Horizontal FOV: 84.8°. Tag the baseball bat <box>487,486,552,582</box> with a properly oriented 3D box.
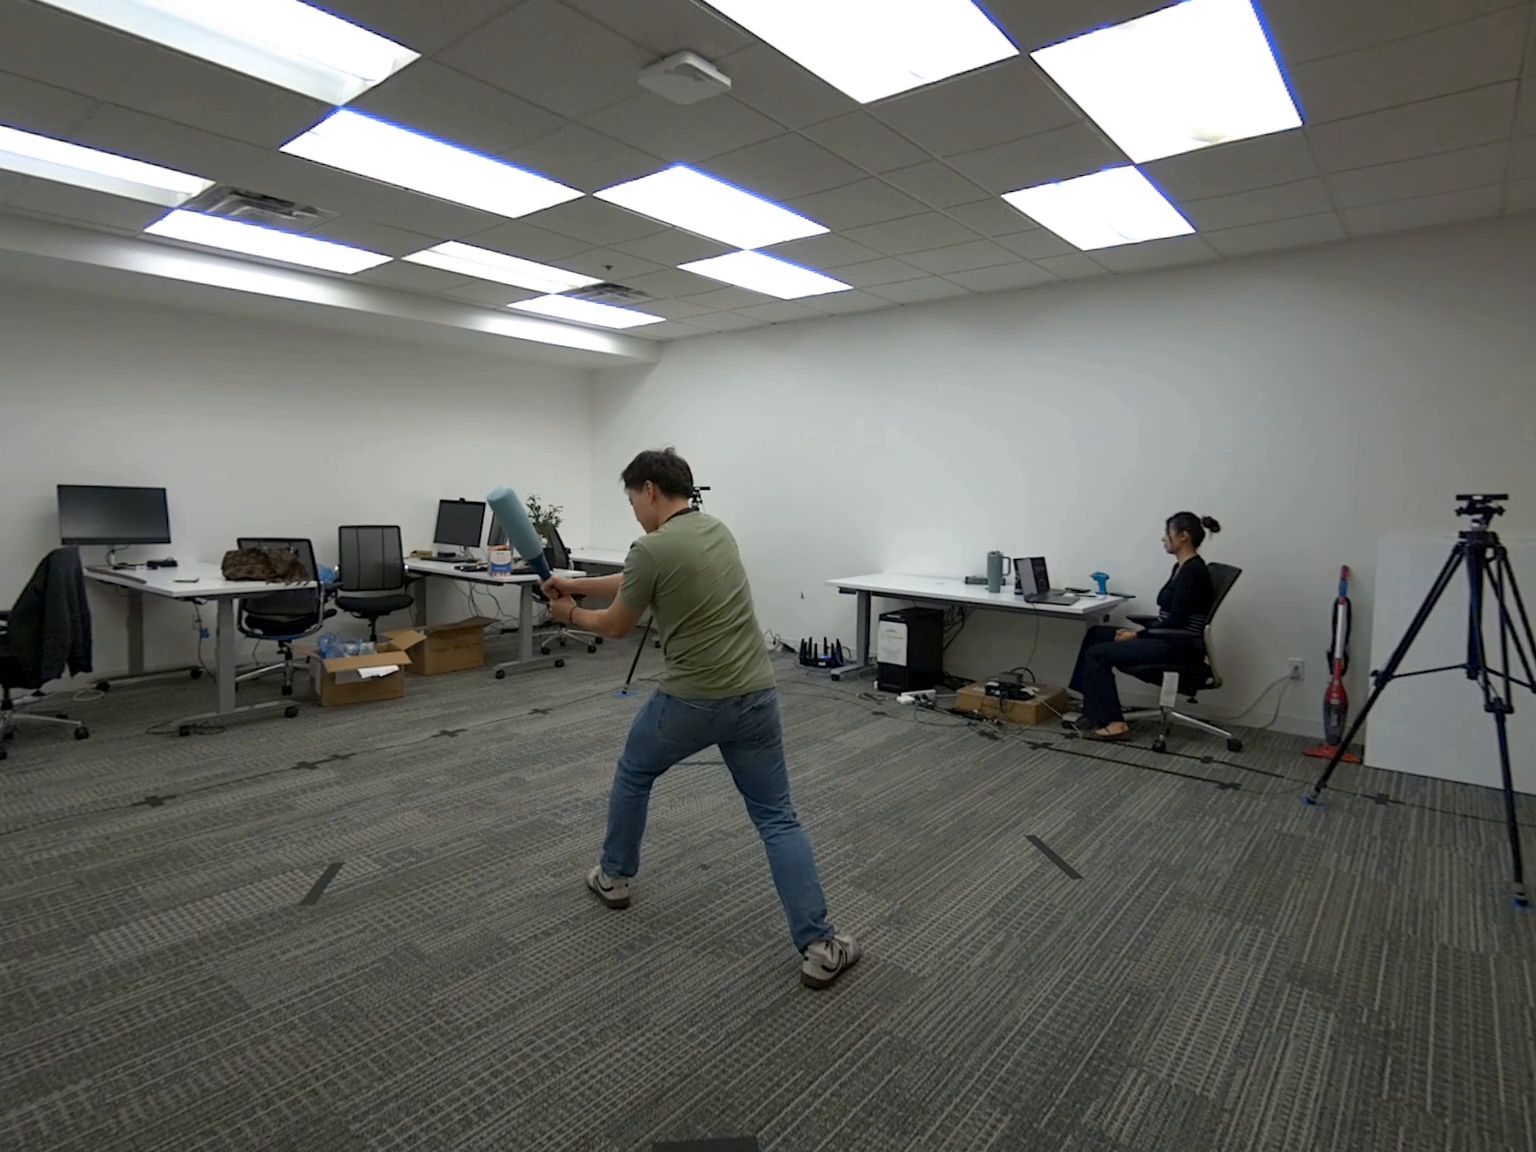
[{"bbox_3d":[-0.759,-0.056,2.736,0.090,0.524,0.091,-15,34,9],"label":"baseball bat"}]
